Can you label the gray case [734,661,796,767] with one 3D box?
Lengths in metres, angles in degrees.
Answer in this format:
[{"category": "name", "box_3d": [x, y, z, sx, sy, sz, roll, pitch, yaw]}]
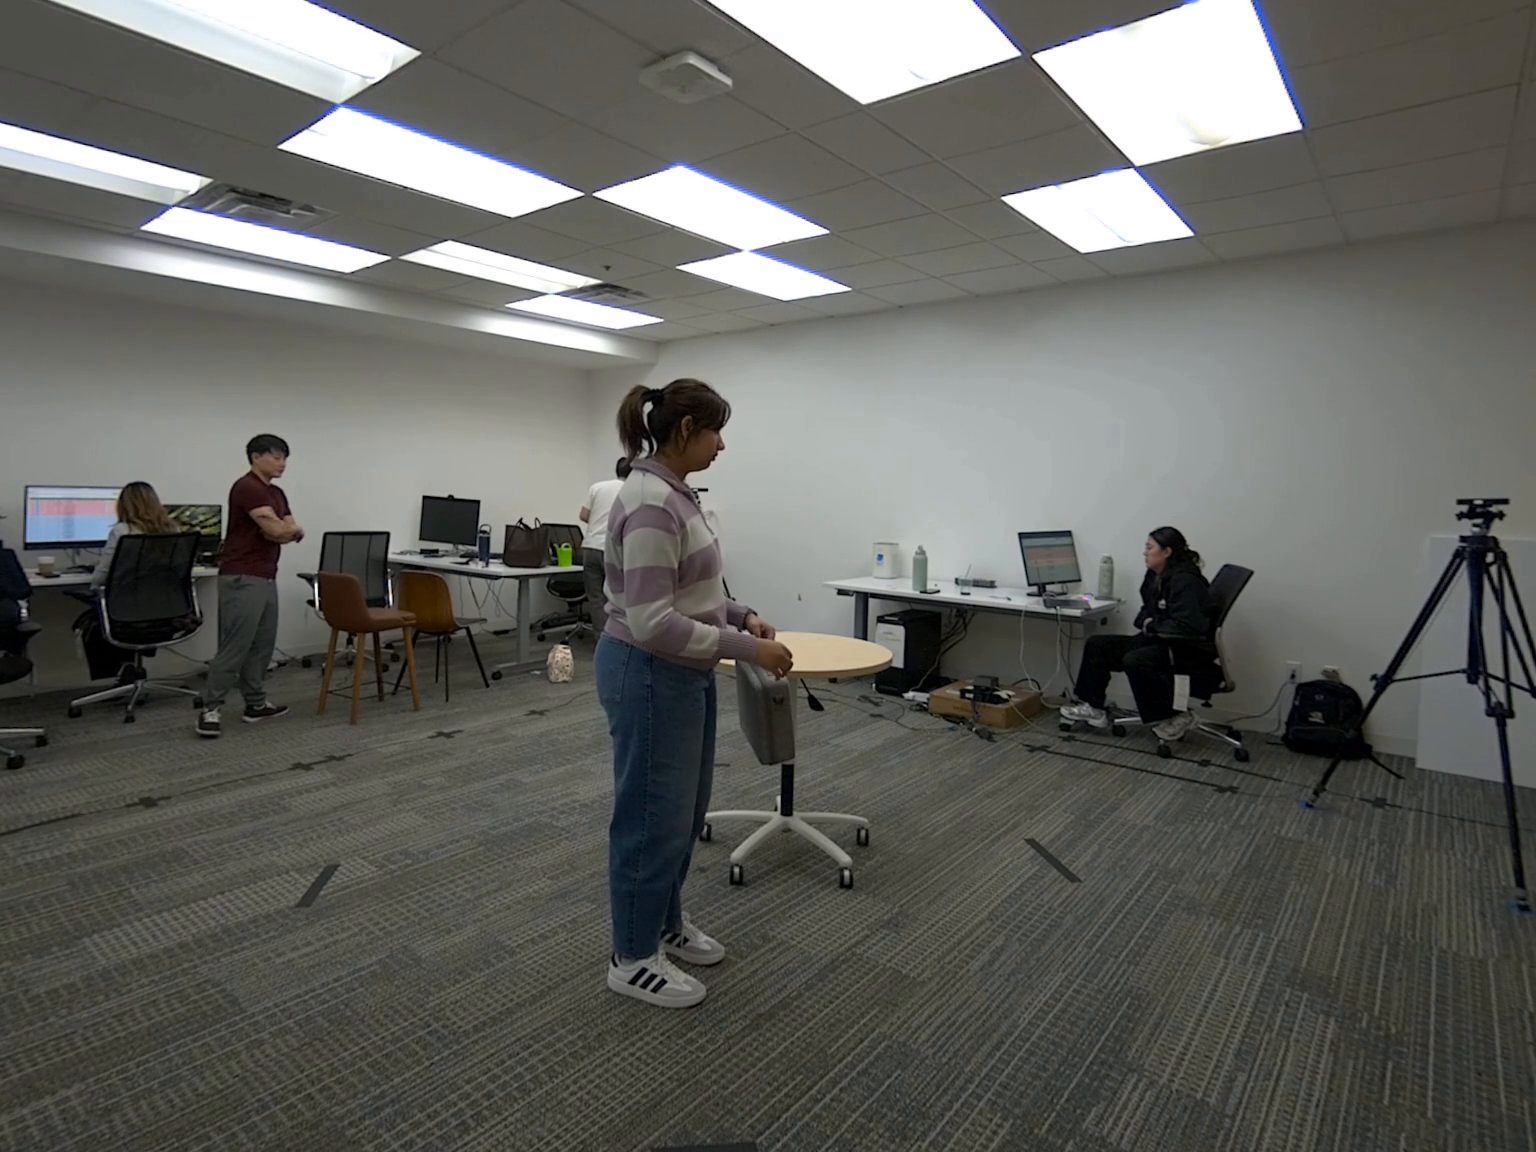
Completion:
[{"category": "gray case", "box_3d": [-0.018, 0.357, 2.396, 0.103, 0.256, 0.264, -8, 17, -15]}]
